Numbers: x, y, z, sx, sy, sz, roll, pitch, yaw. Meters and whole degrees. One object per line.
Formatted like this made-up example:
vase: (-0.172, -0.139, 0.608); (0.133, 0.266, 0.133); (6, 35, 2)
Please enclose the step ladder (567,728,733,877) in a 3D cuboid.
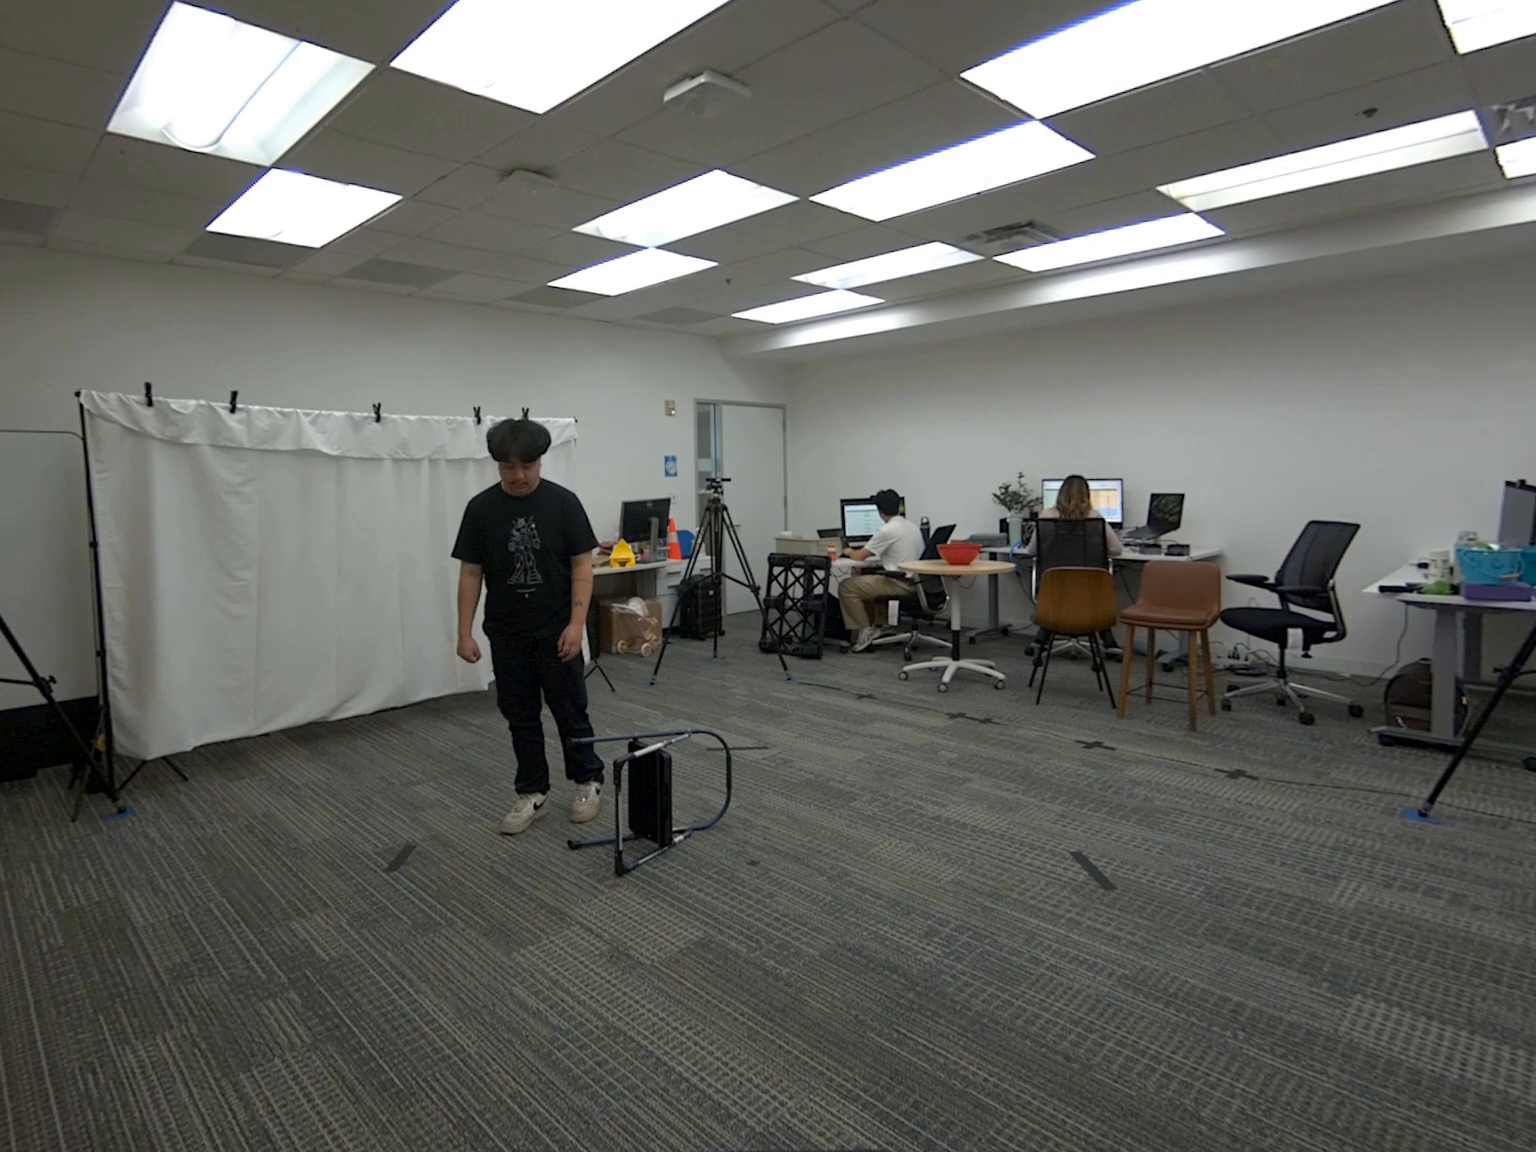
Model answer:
step ladder: (-0.422, 0.814, 3.305); (0.590, 0.429, 0.360); (-5, 7, -41)
